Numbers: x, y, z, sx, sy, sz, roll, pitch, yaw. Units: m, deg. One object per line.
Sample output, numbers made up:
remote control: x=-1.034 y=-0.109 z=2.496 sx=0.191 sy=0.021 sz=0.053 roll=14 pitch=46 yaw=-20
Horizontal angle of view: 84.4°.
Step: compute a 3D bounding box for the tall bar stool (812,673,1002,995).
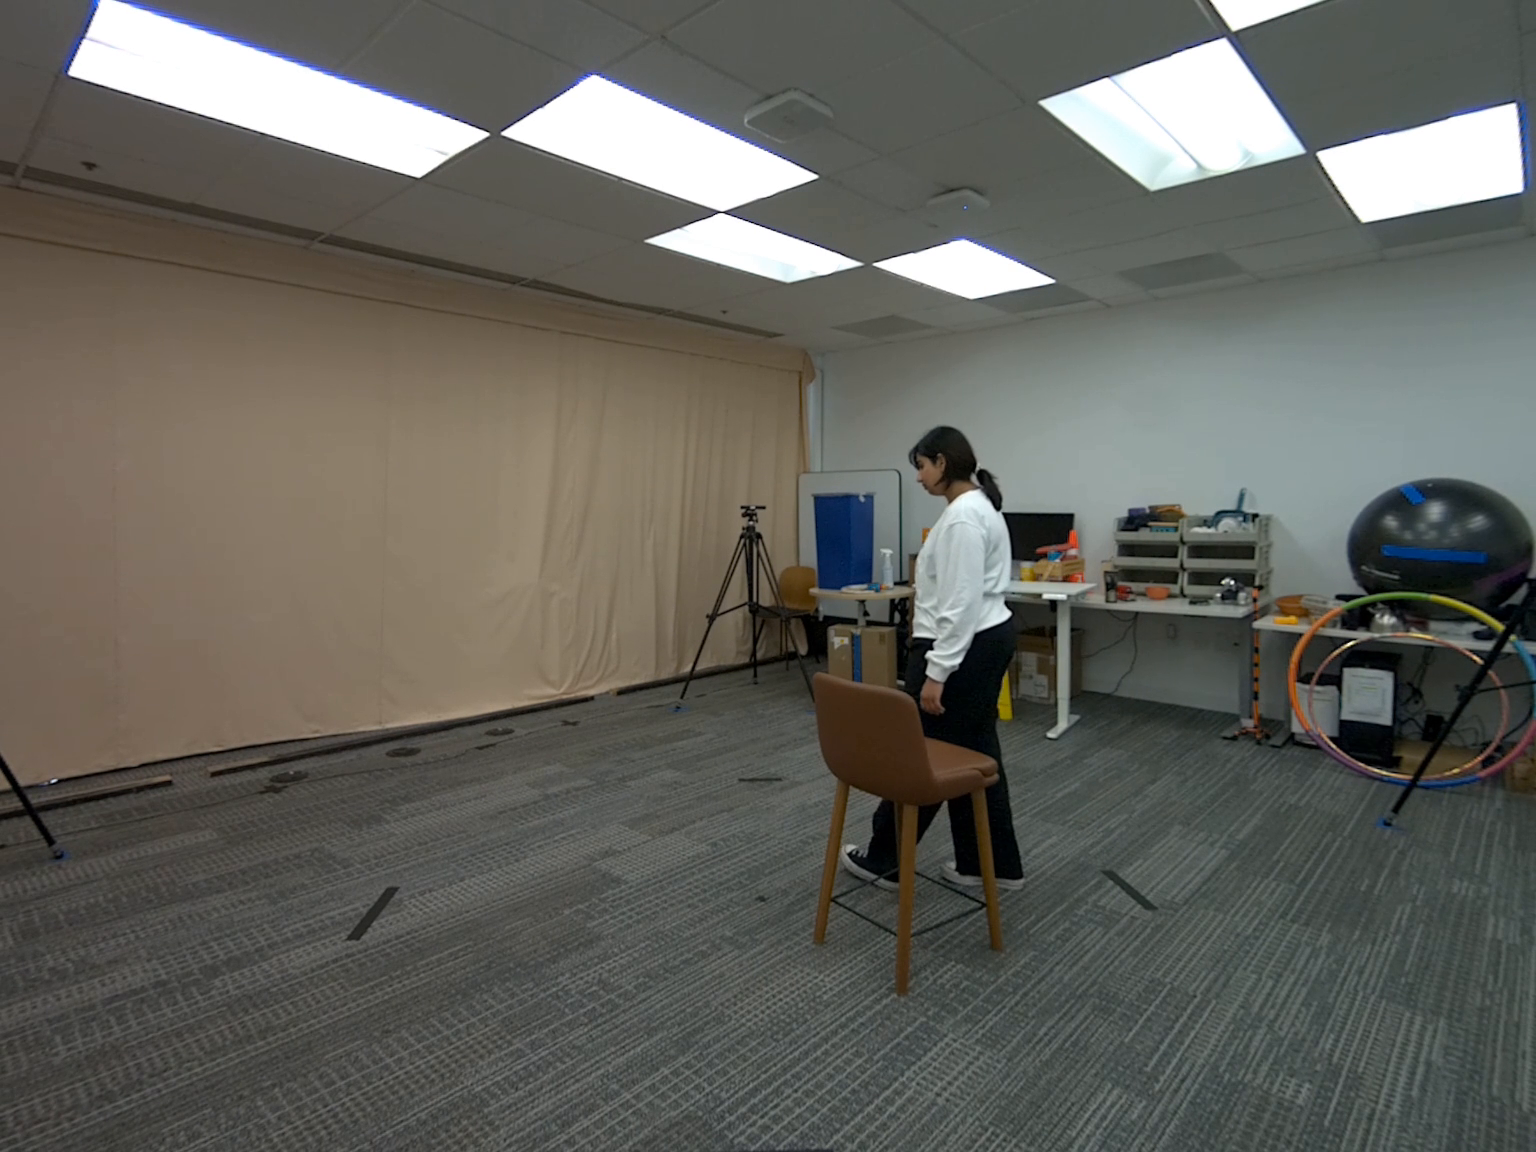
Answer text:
tall bar stool: x=0.439 y=0.735 z=2.642 sx=0.454 sy=0.887 sz=0.471 roll=-5 pitch=5 yaw=-37
